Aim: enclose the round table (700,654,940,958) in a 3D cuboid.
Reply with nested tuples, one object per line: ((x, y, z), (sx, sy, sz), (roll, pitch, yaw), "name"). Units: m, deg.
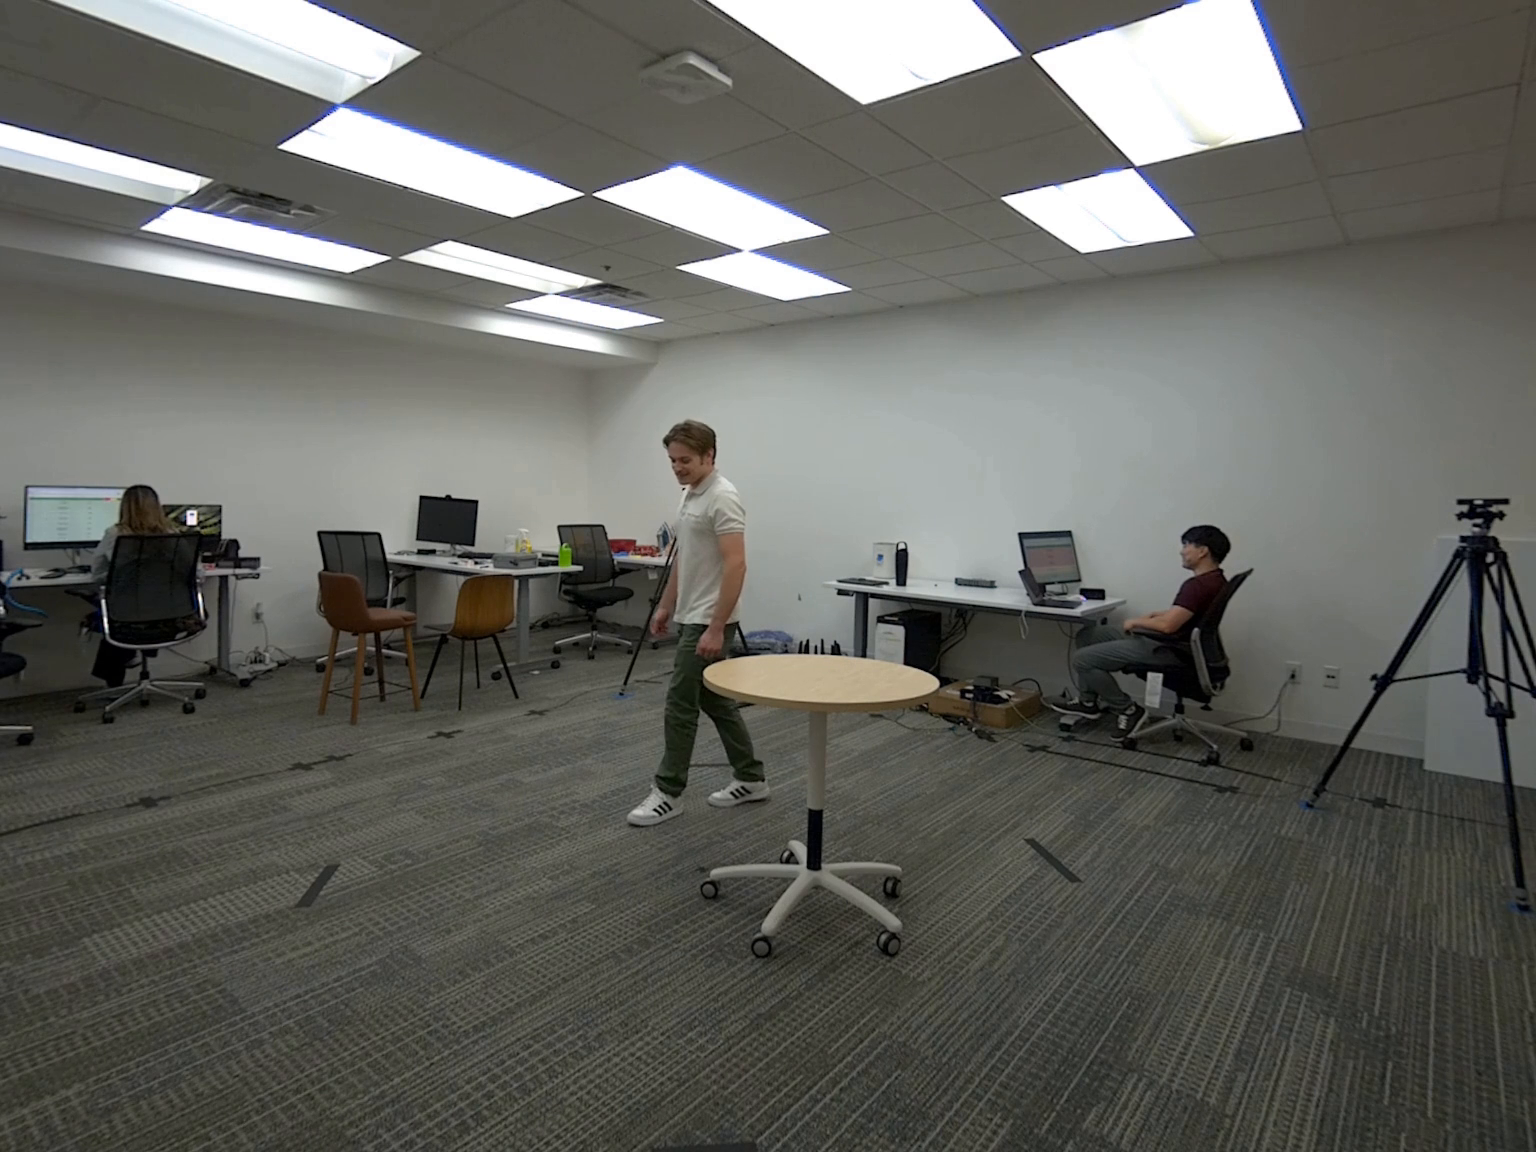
((0.147, 0.718, 2.808), (0.763, 0.792, 0.767), (1, 4, -2), "round table")
